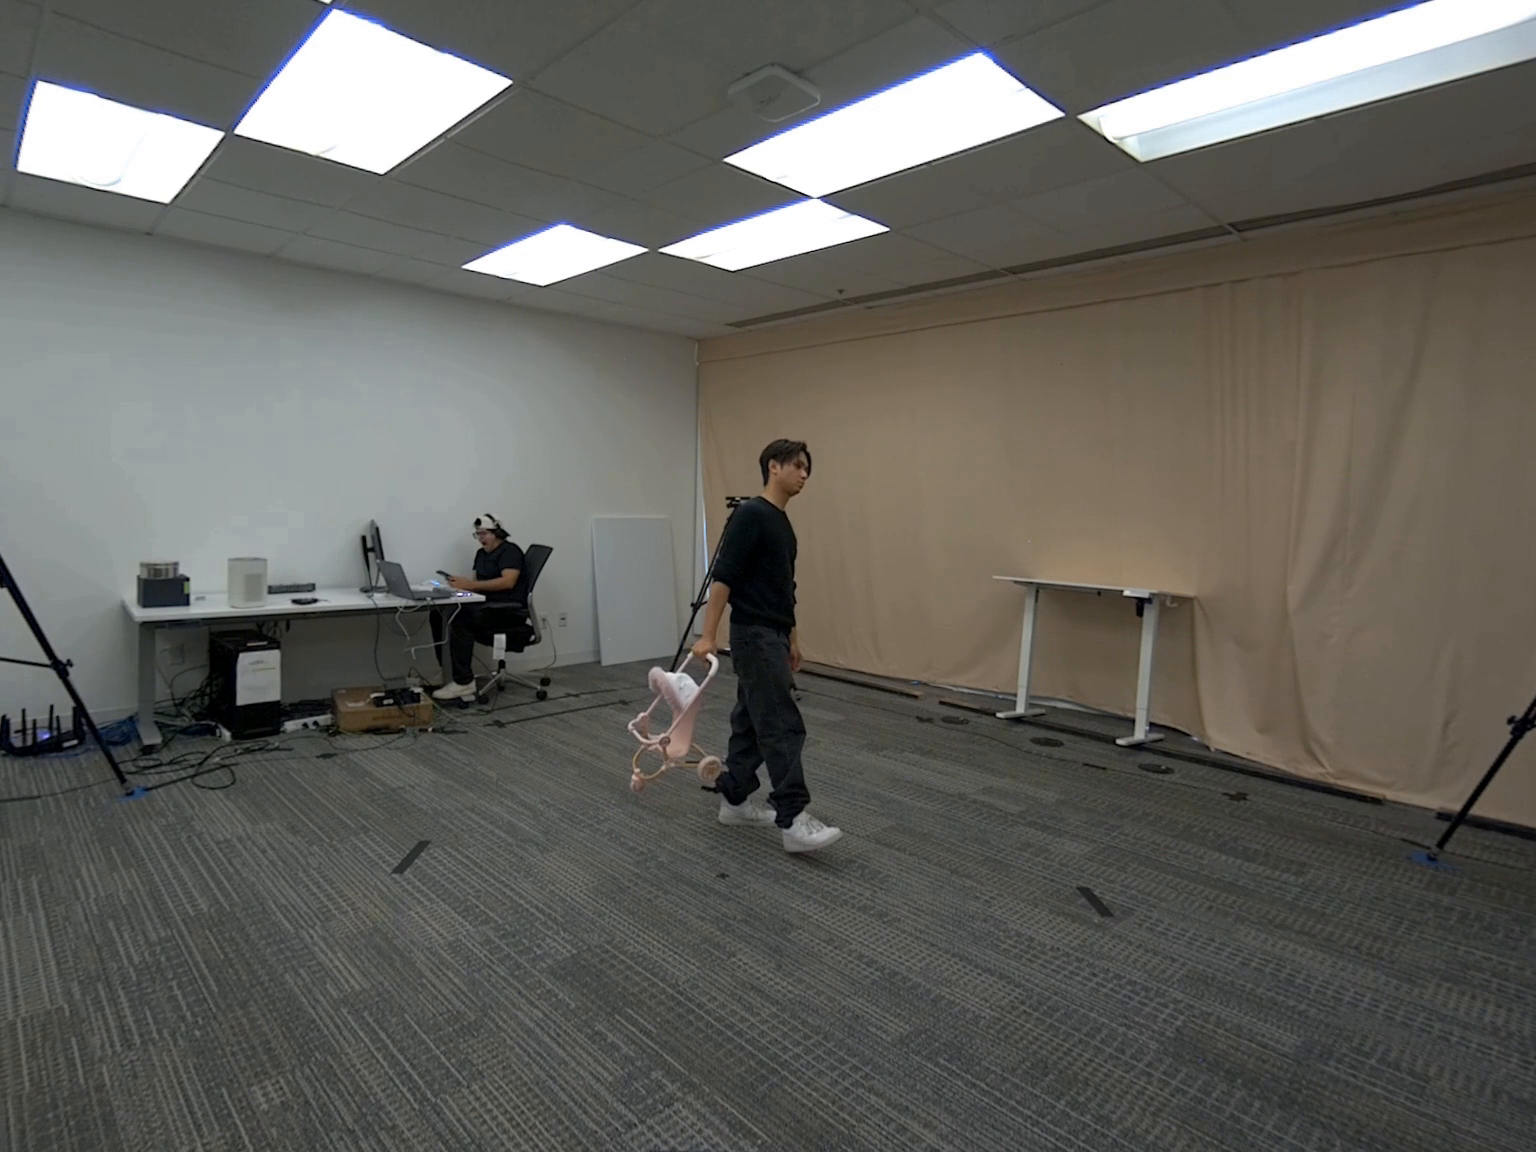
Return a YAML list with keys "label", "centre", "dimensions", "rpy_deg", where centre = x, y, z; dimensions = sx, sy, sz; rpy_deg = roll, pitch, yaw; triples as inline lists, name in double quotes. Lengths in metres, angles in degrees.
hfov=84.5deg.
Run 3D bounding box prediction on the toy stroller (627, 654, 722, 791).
- label: "toy stroller"
  centre: [-0.380, 0.575, 3.248]
  dimensions: [0.335, 0.529, 0.289]
  rpy_deg: [-5, 18, -27]
